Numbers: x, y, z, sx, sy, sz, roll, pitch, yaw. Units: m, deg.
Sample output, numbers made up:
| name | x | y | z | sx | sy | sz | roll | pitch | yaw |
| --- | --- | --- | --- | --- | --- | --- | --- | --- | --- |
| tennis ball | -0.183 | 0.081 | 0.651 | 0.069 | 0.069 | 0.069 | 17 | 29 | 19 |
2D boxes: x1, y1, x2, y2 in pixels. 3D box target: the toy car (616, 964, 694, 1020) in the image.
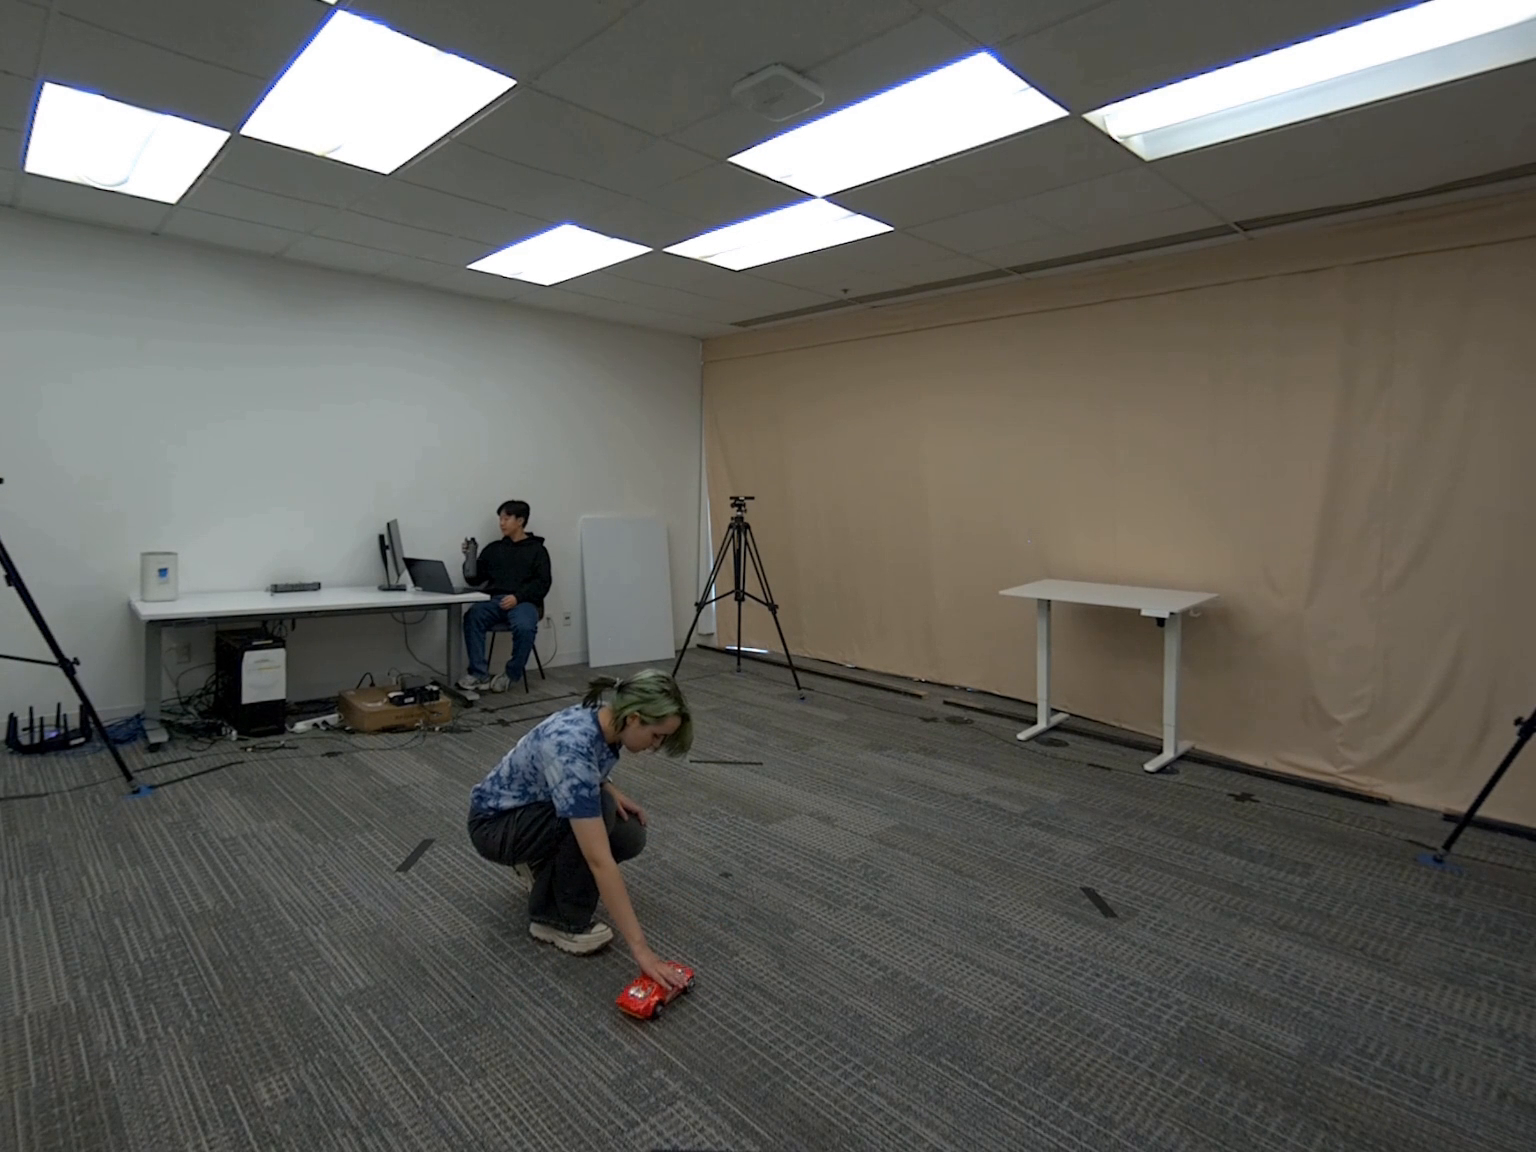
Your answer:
| name | x | y | z | sx | sy | sz | roll | pitch | yaw |
| --- | --- | --- | --- | --- | --- | --- | --- | --- | --- |
| toy car | -0.319 | 1.150 | 2.299 | 0.133 | 0.083 | 0.248 | 5 | -4 | 32 |
